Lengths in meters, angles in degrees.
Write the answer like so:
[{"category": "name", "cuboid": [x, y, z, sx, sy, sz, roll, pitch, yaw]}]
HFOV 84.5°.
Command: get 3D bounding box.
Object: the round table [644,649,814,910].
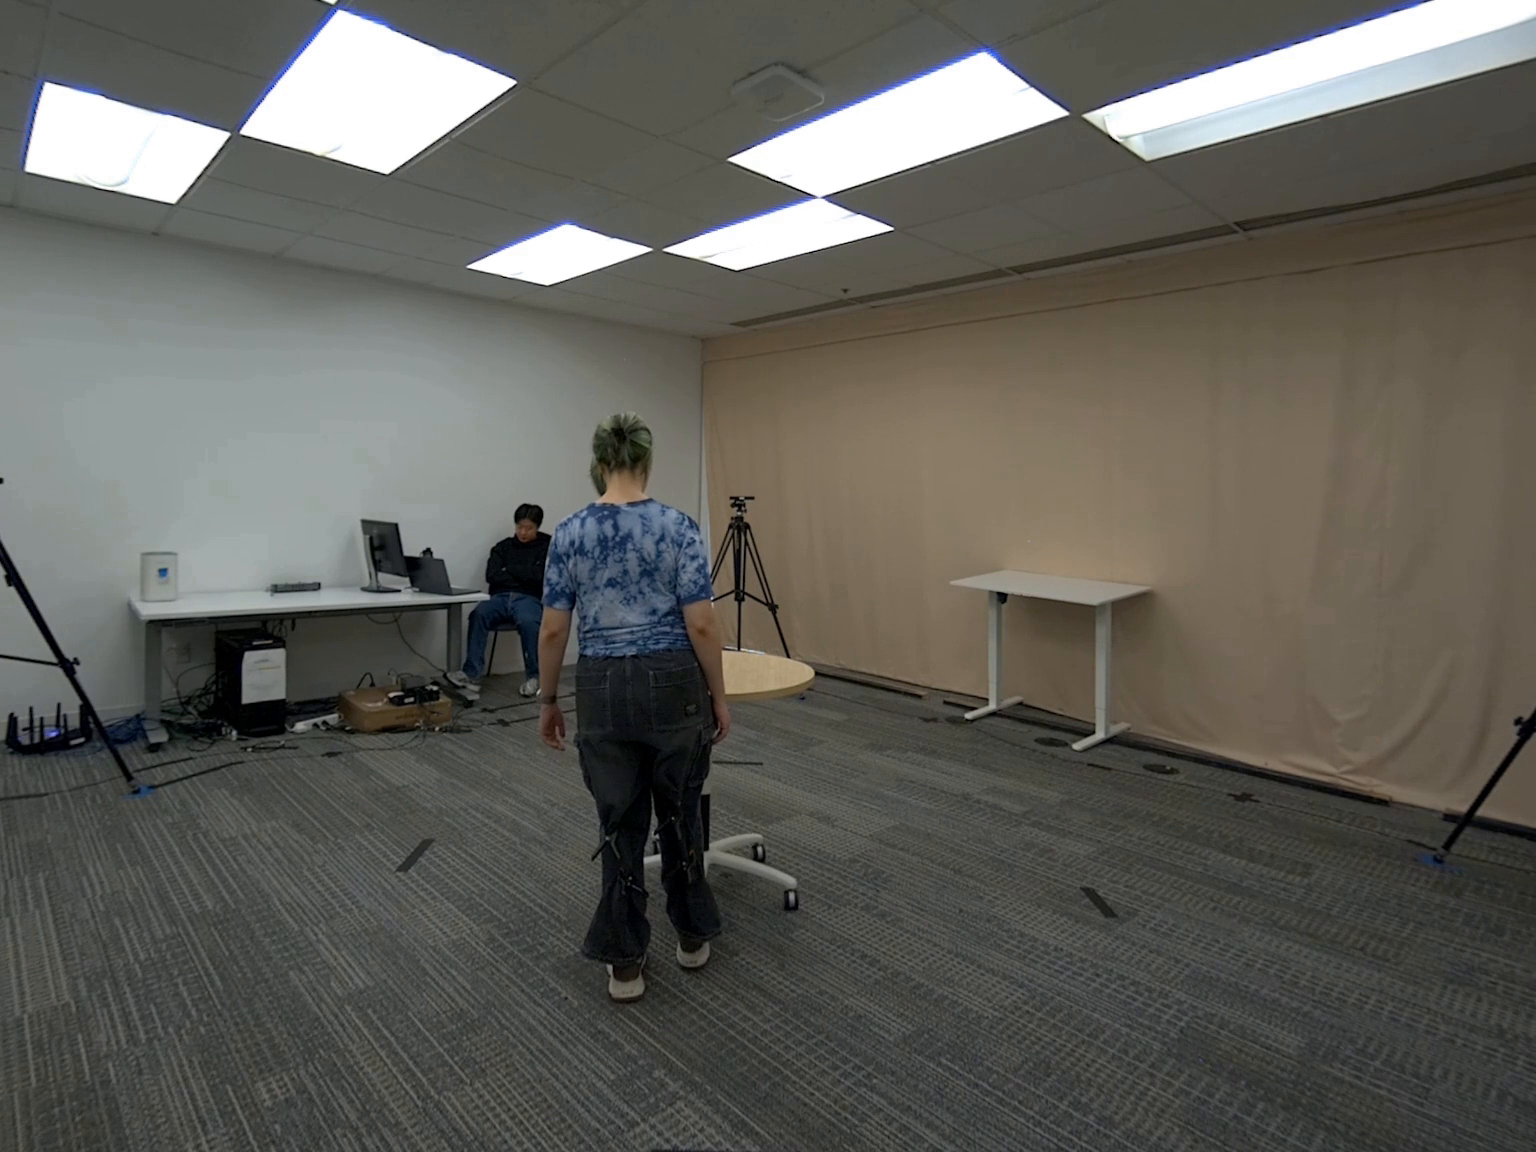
[{"category": "round table", "cuboid": [-0.231, 0.725, 2.989, 0.763, 0.792, 0.766, 1, 4, -1]}]
